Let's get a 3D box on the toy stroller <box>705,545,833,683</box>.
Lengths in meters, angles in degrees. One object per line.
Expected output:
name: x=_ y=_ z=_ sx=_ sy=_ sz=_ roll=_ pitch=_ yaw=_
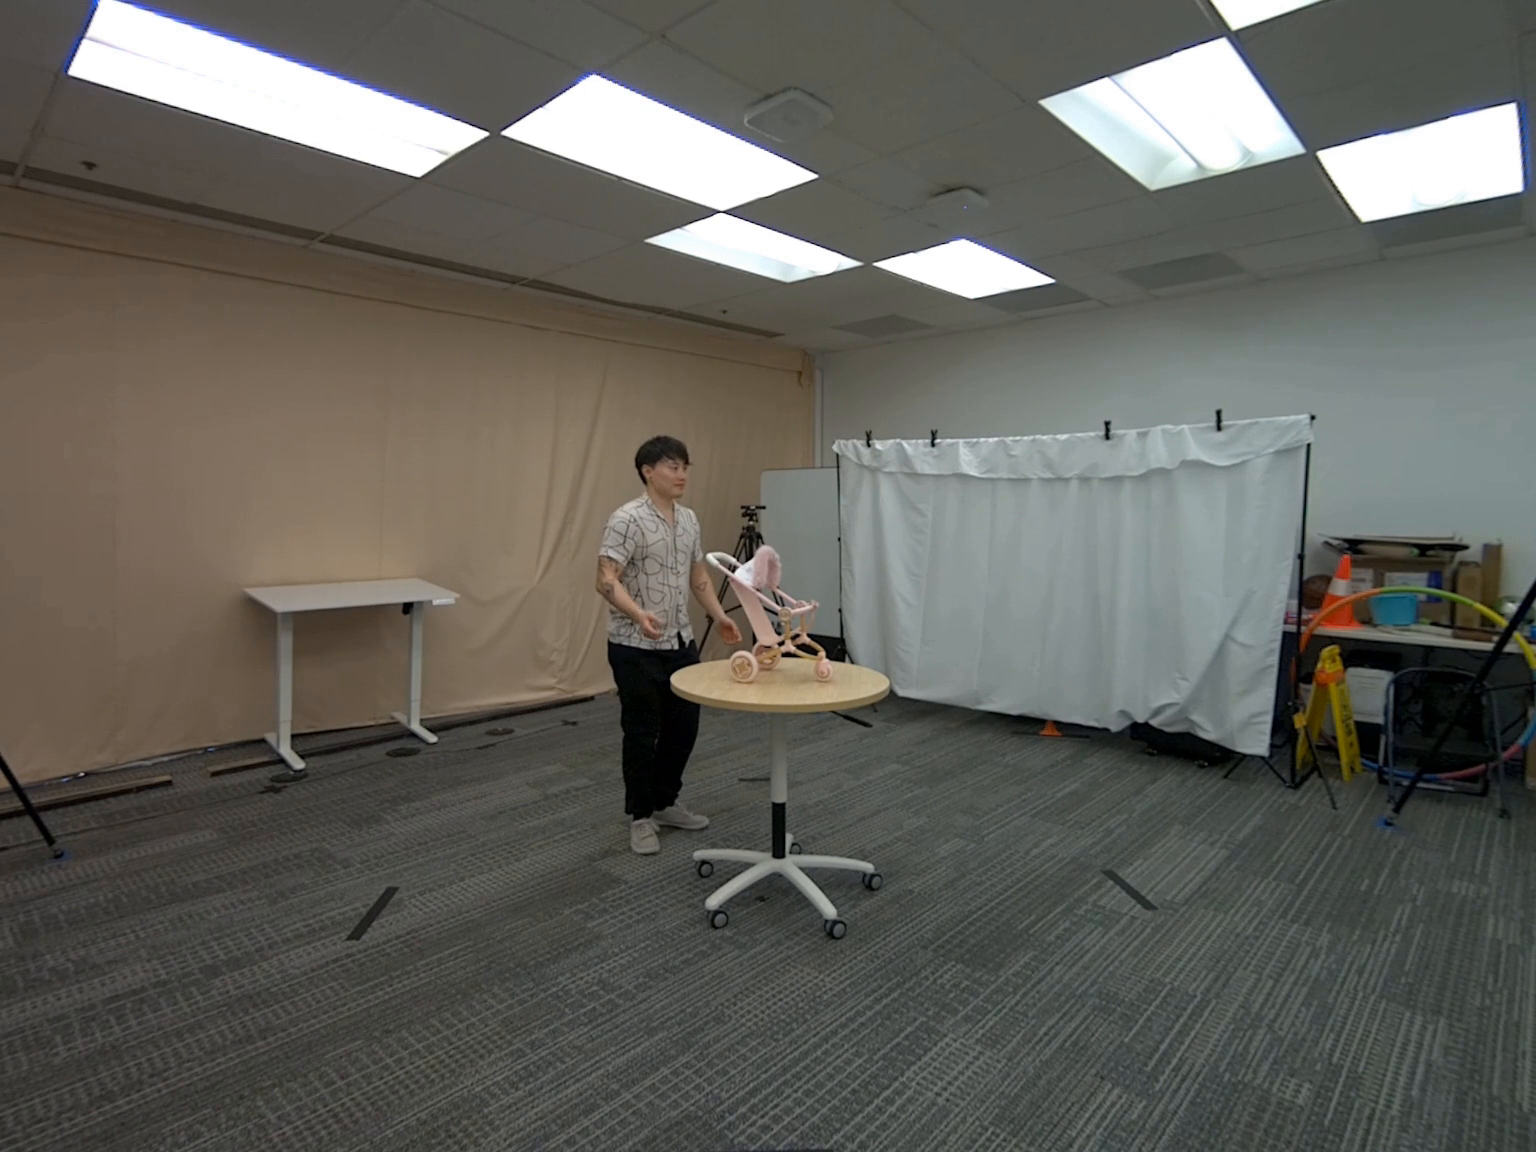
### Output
toy stroller: x=0.020 y=0.137 z=2.963 sx=0.348 sy=0.536 sz=0.275 roll=-16 pitch=-3 yaw=25
